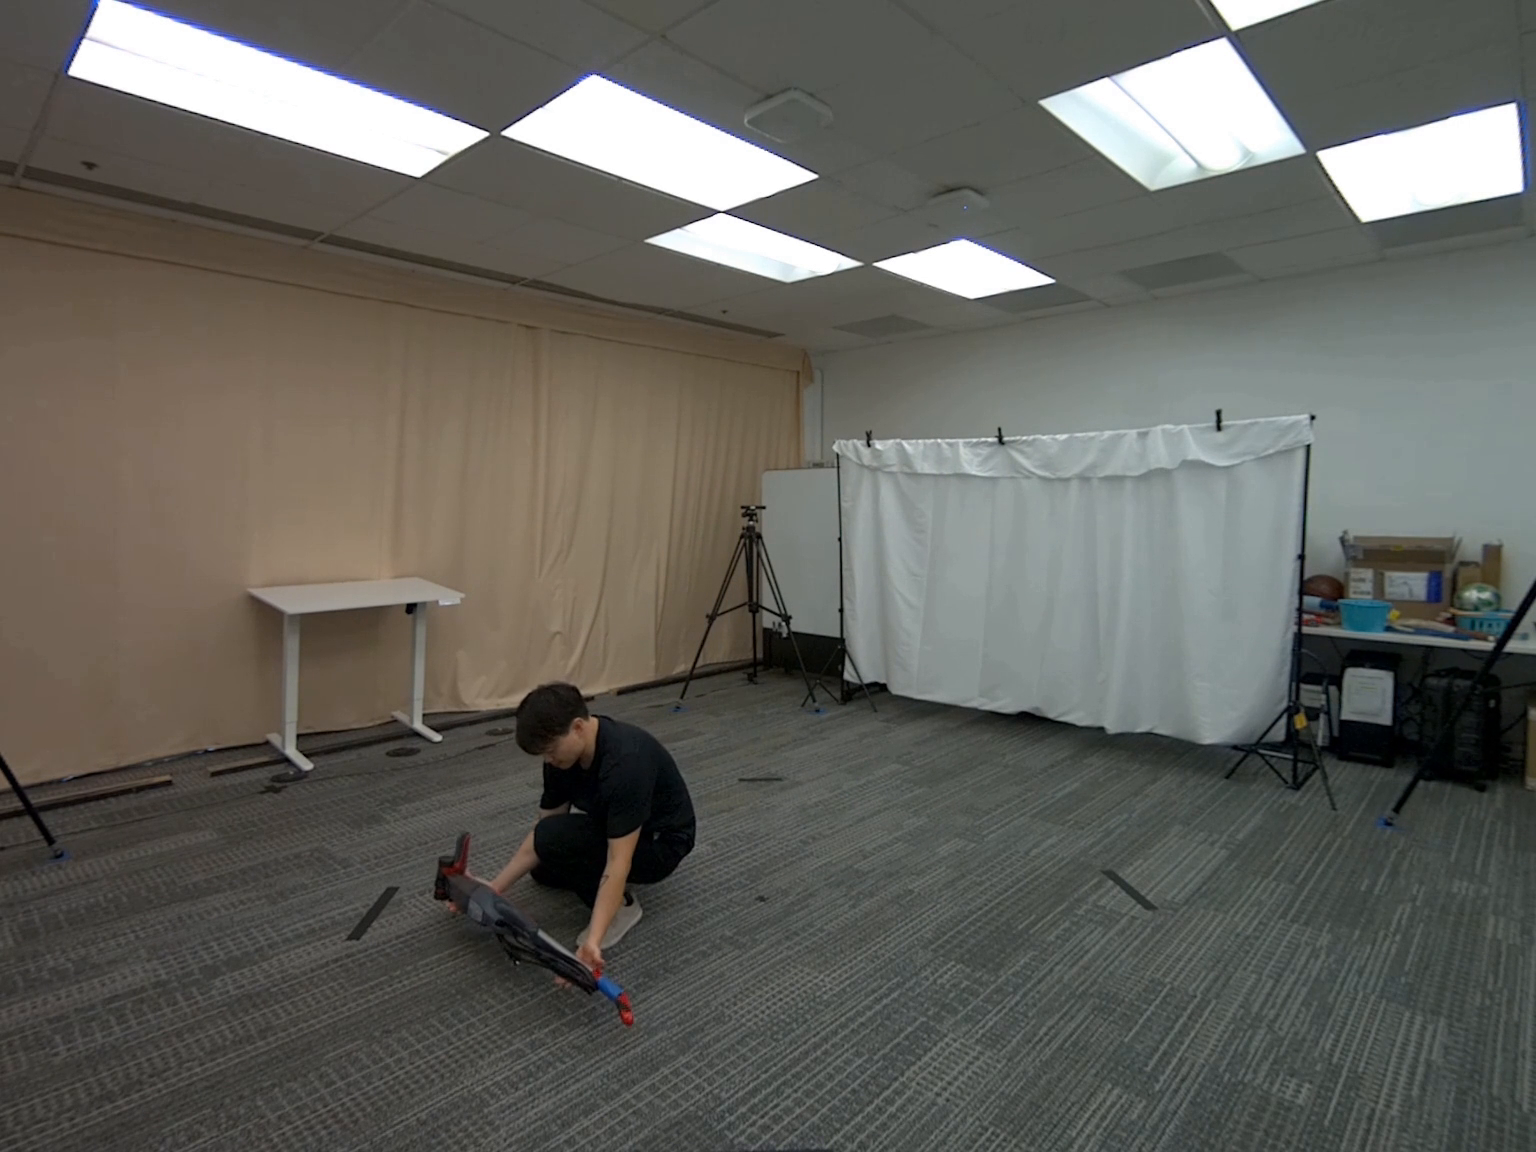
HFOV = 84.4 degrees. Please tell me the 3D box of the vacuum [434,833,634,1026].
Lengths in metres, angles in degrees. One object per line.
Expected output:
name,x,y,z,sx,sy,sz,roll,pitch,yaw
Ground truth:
vacuum,-0.716,1.053,2.472,0.139,0.253,1.085,10,-3,-43
